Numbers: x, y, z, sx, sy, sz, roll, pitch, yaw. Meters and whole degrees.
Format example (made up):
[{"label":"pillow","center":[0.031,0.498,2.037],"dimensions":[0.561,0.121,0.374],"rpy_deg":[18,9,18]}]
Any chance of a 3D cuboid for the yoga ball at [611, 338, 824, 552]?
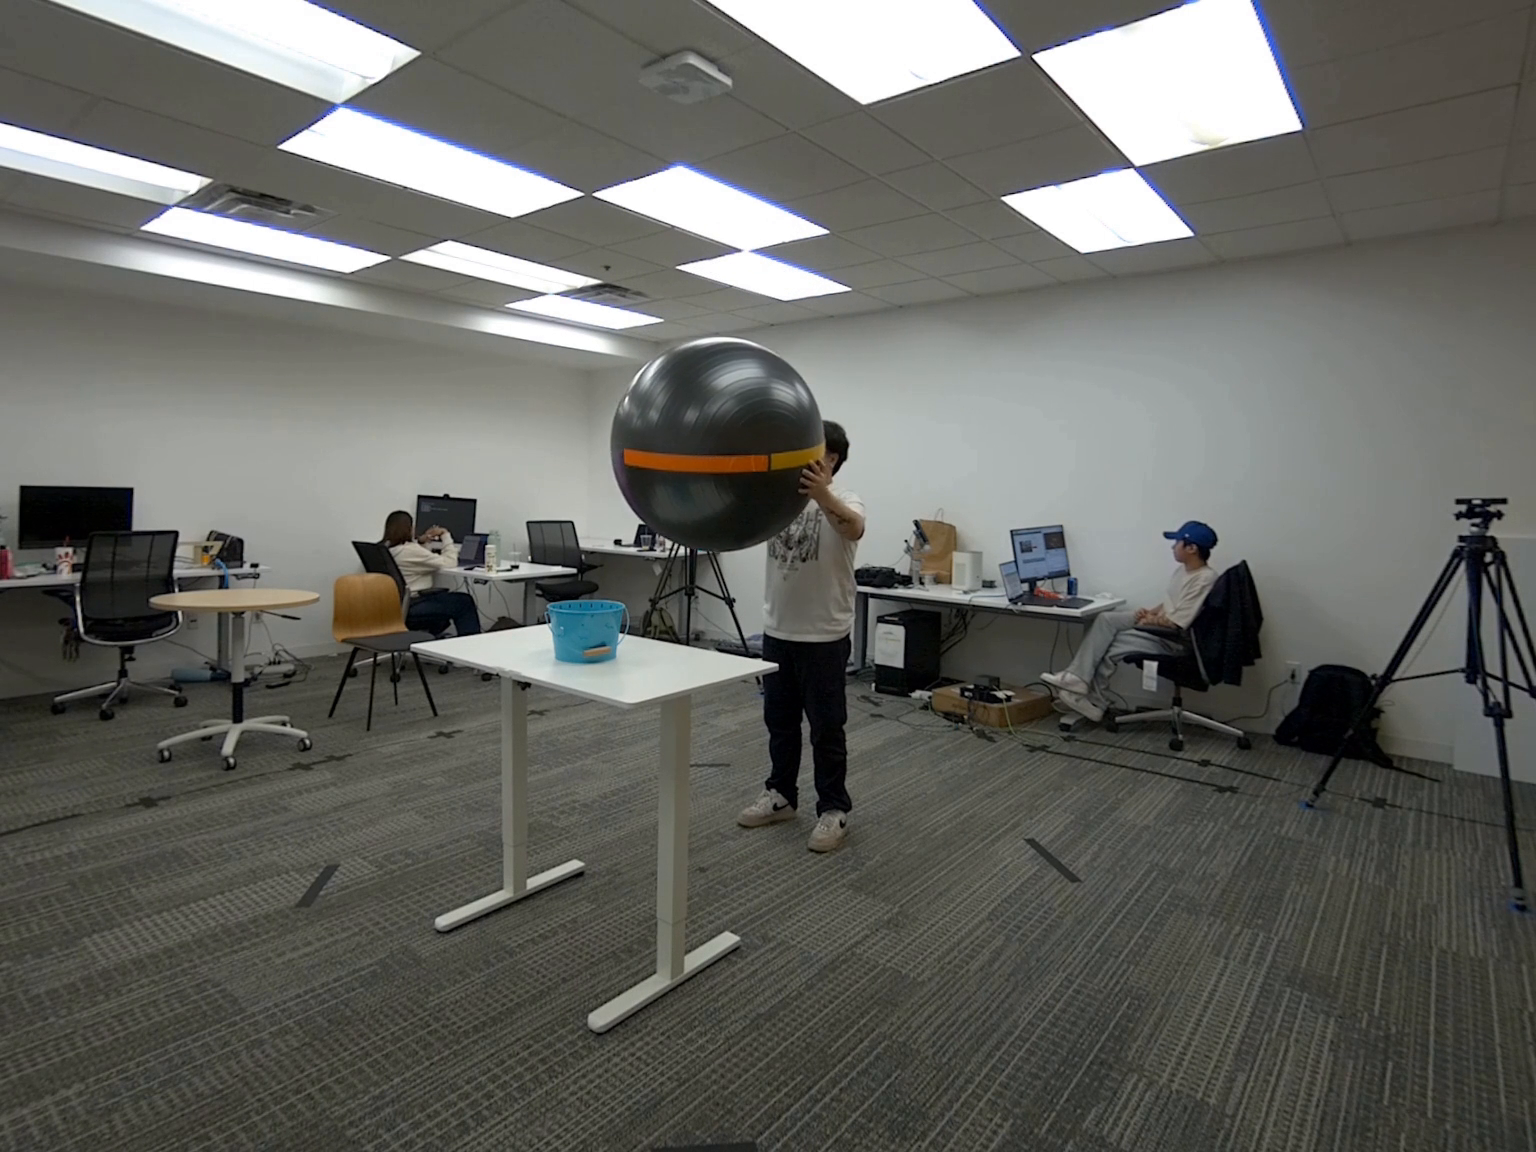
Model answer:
[{"label":"yoga ball","center":[-0.189,-0.458,3.030],"dimensions":[0.757,0.755,0.762],"rpy_deg":[1,4,-2]}]
